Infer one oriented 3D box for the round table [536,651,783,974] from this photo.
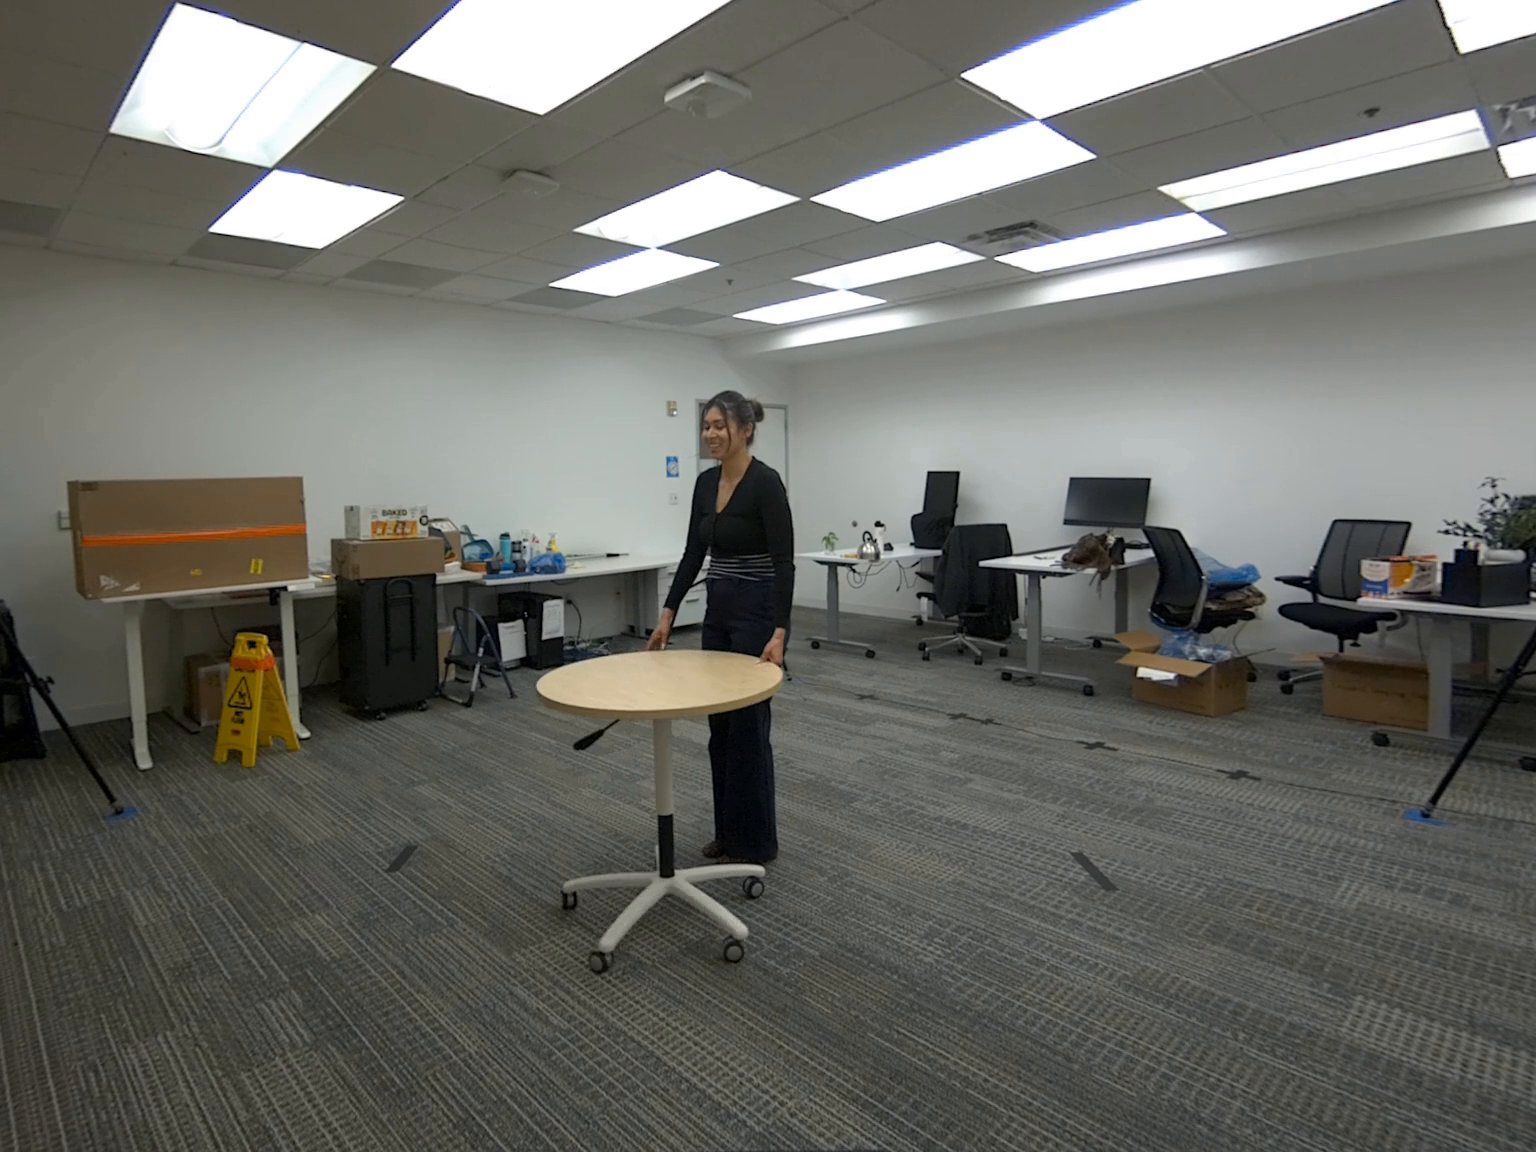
[{"bbox_3d":[-0.324,0.706,2.709,0.763,0.790,0.768,-2,6,-1],"label":"round table"}]
